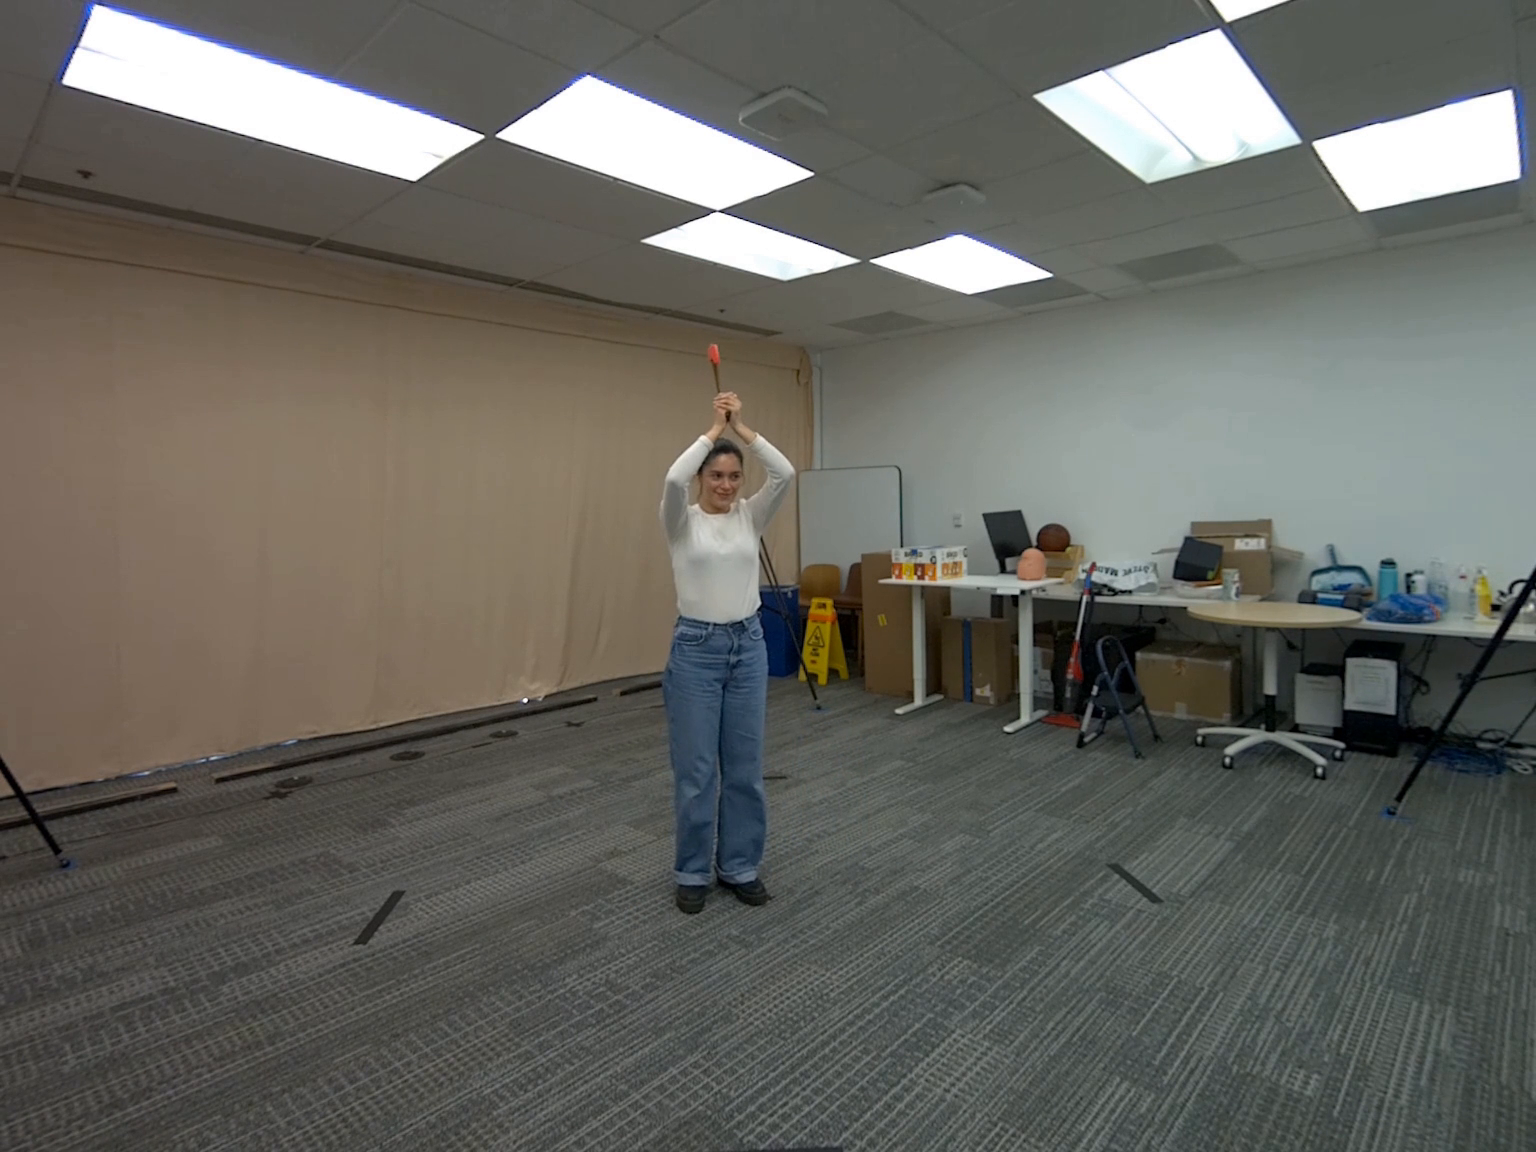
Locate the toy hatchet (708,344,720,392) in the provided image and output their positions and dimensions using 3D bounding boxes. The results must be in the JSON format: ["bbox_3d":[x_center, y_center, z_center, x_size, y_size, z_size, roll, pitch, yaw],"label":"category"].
[{"bbox_3d":[-0.156,-0.659,2.812,0.029,0.275,0.130,-9,-21,-15],"label":"toy hatchet"}]
